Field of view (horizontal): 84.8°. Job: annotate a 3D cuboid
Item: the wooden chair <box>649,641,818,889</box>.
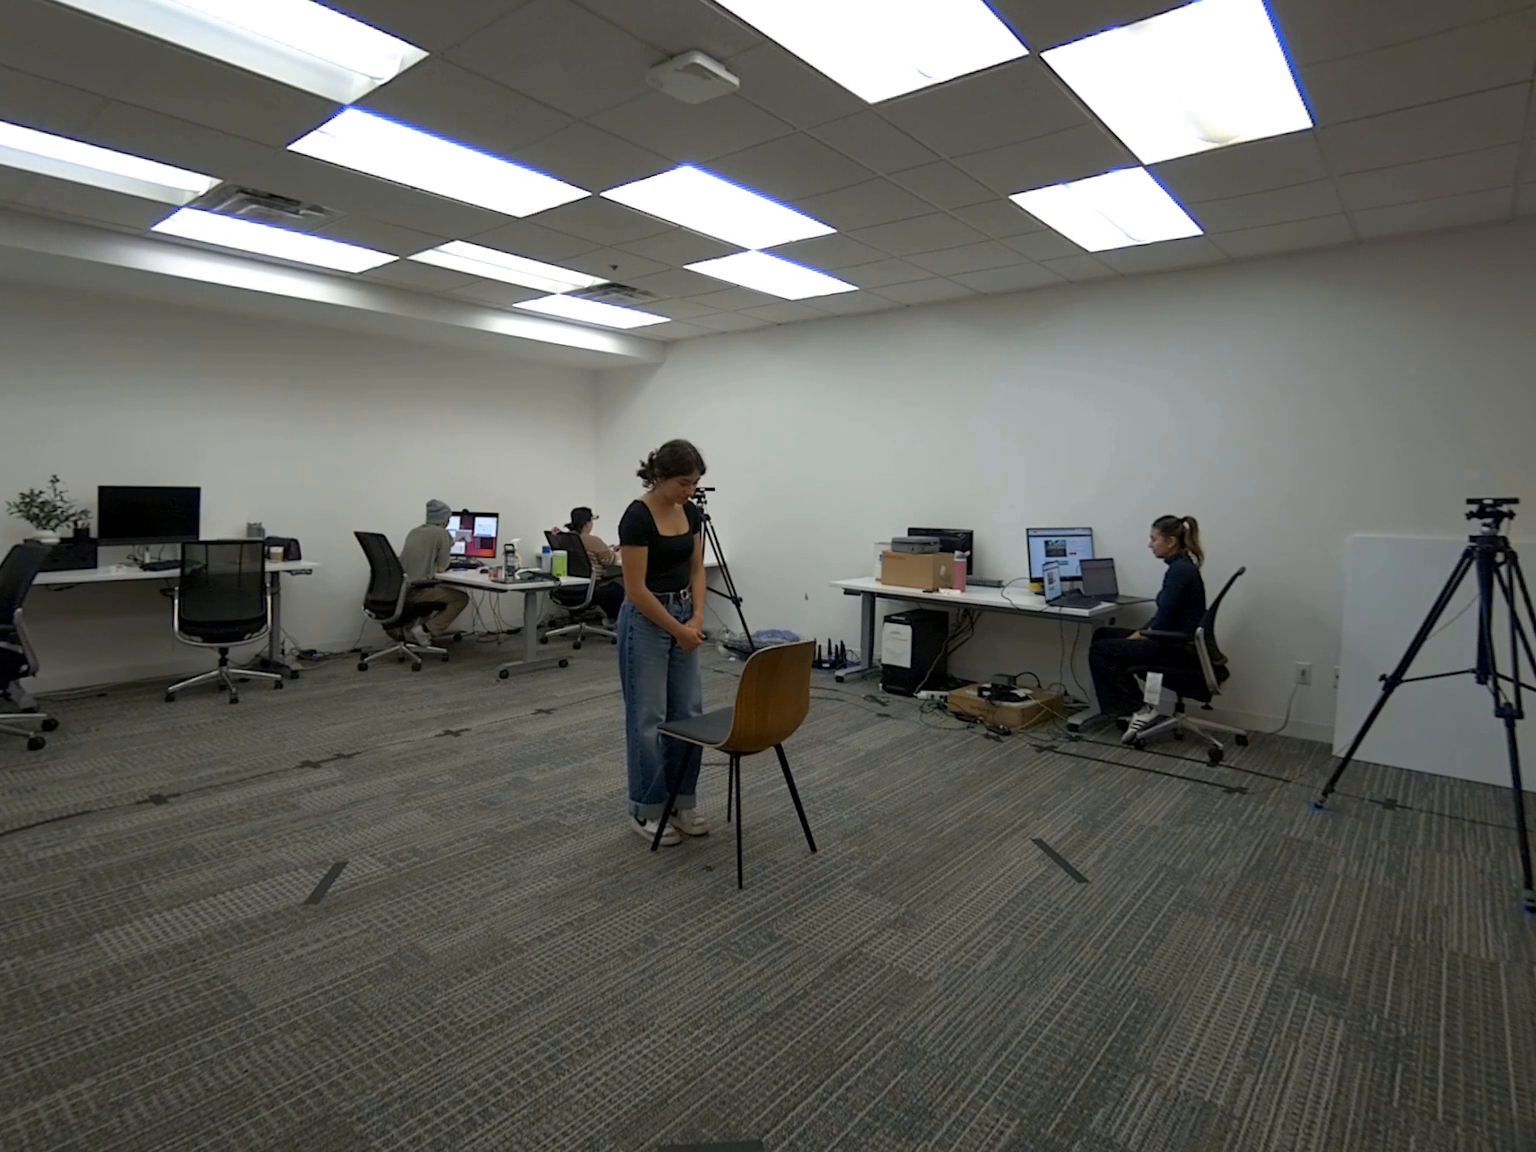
[{"bbox_3d":[-0.131,0.631,3.237,0.542,0.873,0.464,9,8,40],"label":"wooden chair"}]
